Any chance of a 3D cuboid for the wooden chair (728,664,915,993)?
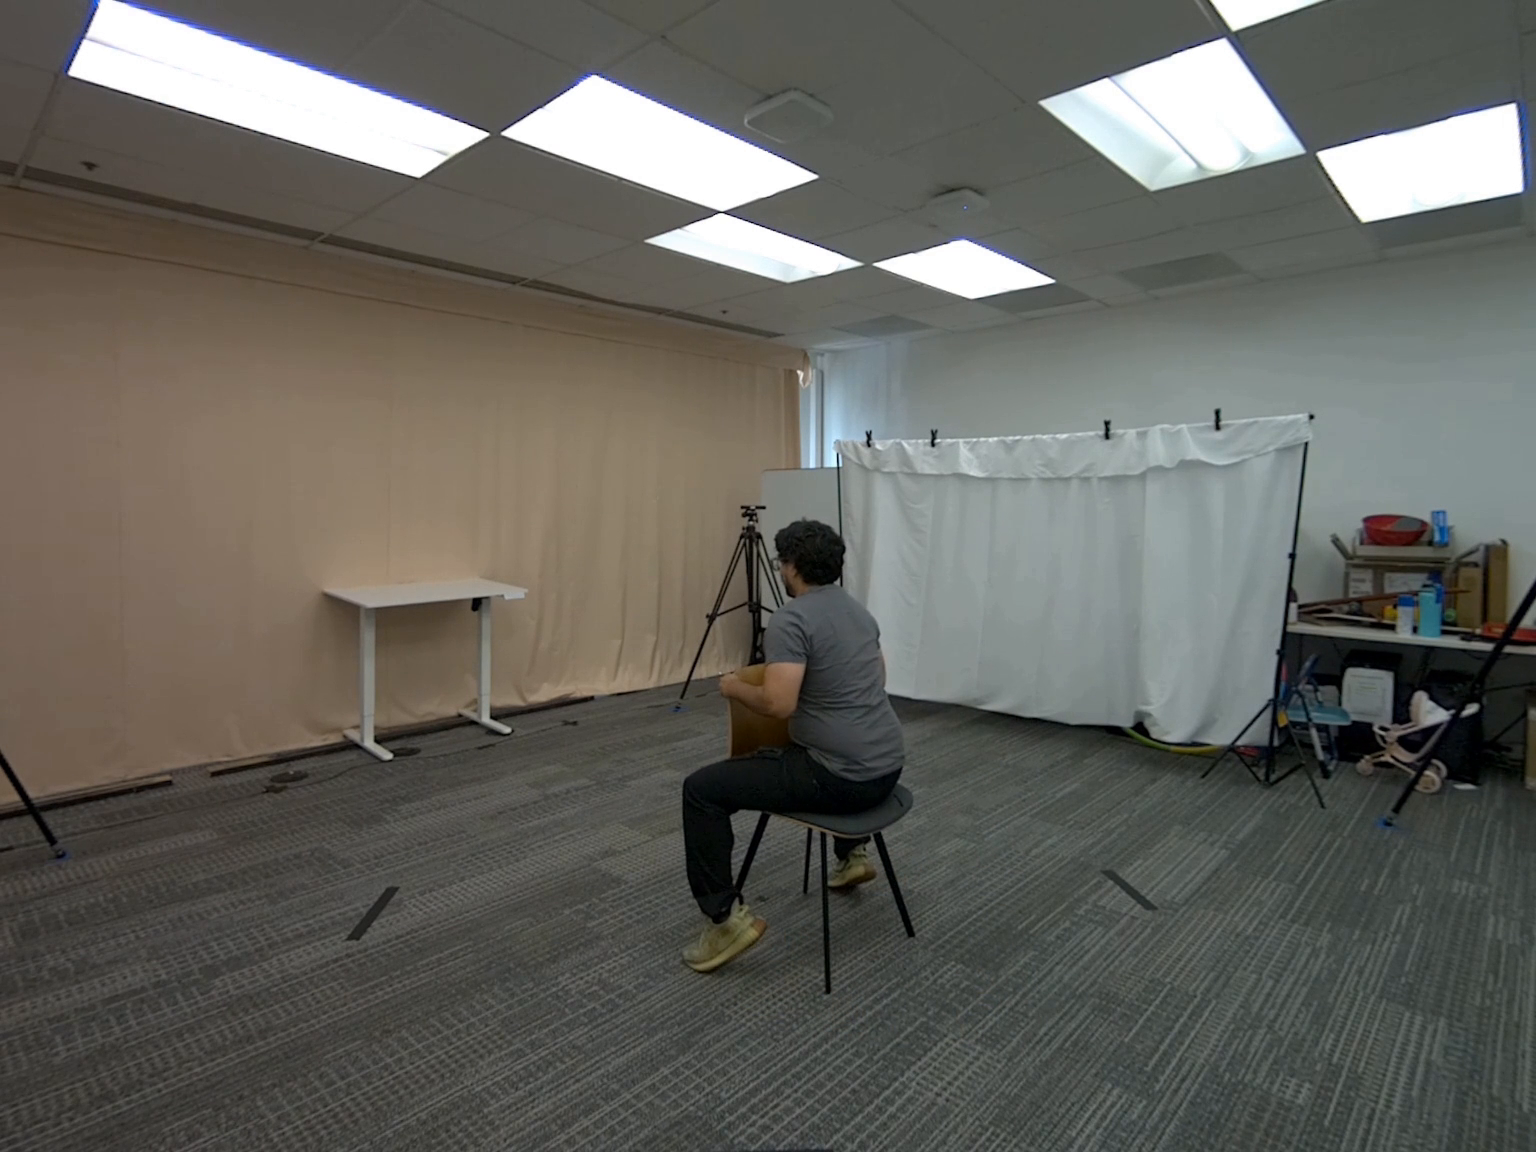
[{"bbox_3d":[0.166,0.745,2.681,0.540,0.877,0.463,-2,1,44],"label":"wooden chair"}]
